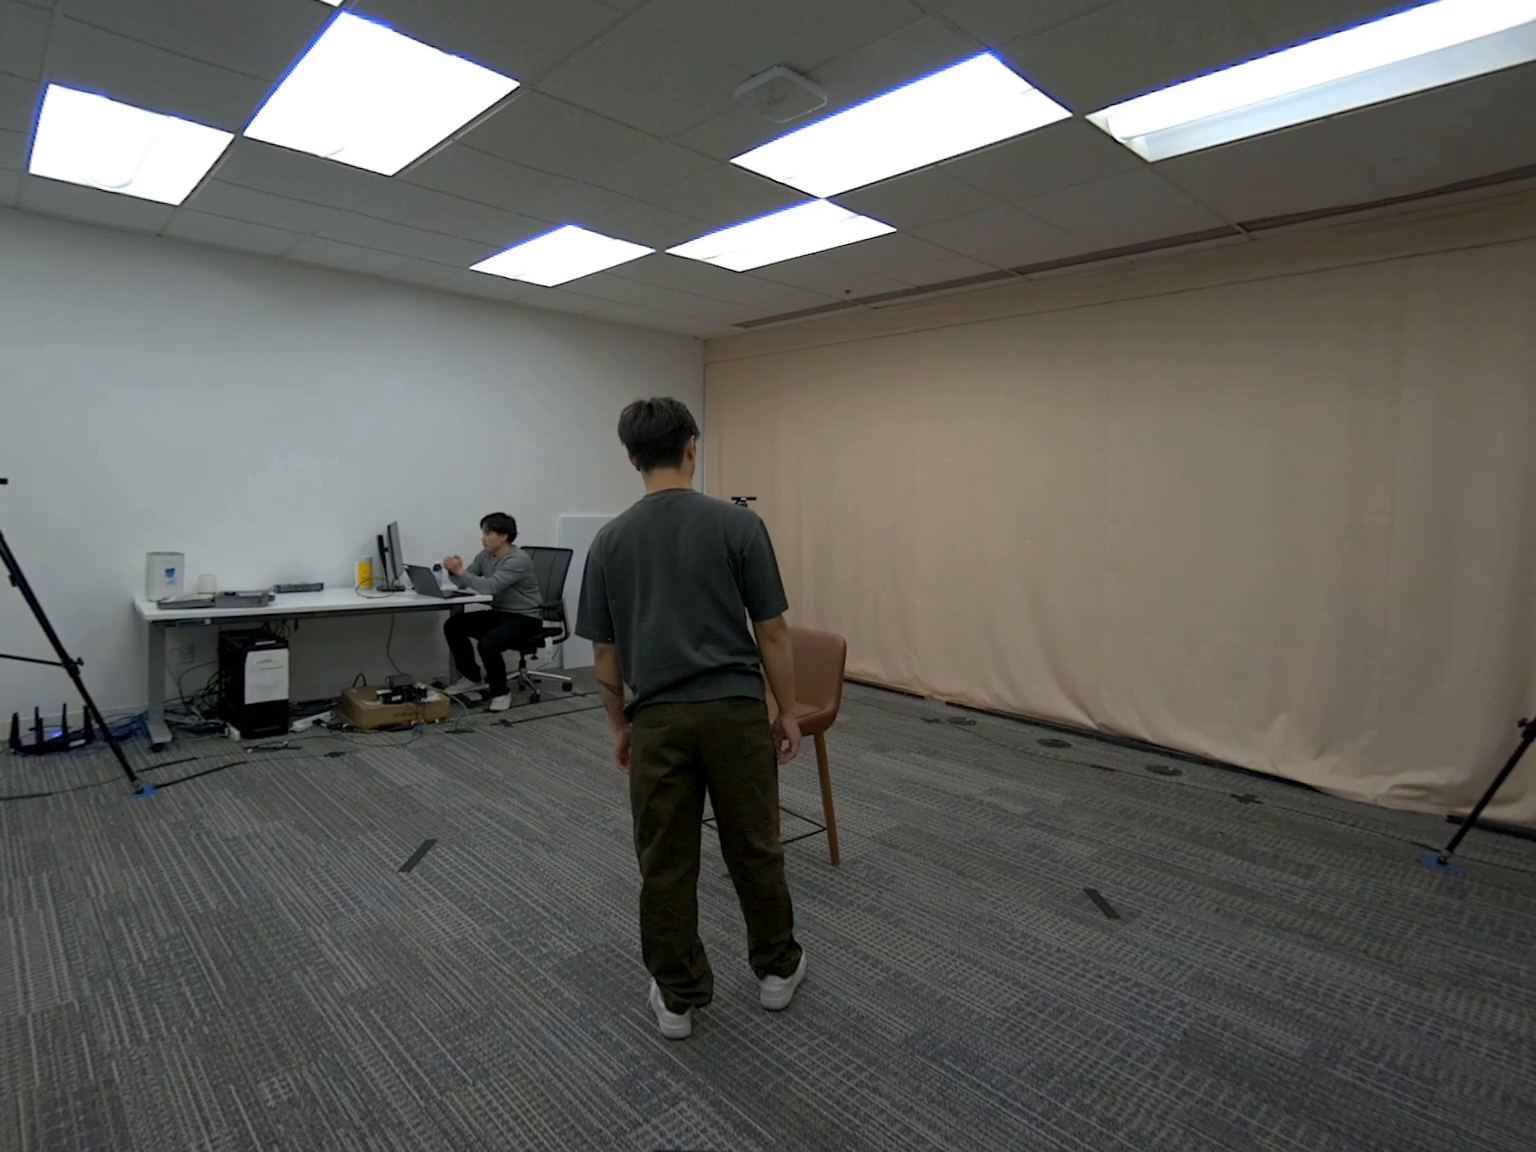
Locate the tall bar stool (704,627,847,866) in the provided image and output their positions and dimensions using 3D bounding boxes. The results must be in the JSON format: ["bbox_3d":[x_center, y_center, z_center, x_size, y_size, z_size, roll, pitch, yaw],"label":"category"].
[{"bbox_3d":[-0.001,0.665,3.217,0.456,0.888,0.468,1,3,-40],"label":"tall bar stool"}]
